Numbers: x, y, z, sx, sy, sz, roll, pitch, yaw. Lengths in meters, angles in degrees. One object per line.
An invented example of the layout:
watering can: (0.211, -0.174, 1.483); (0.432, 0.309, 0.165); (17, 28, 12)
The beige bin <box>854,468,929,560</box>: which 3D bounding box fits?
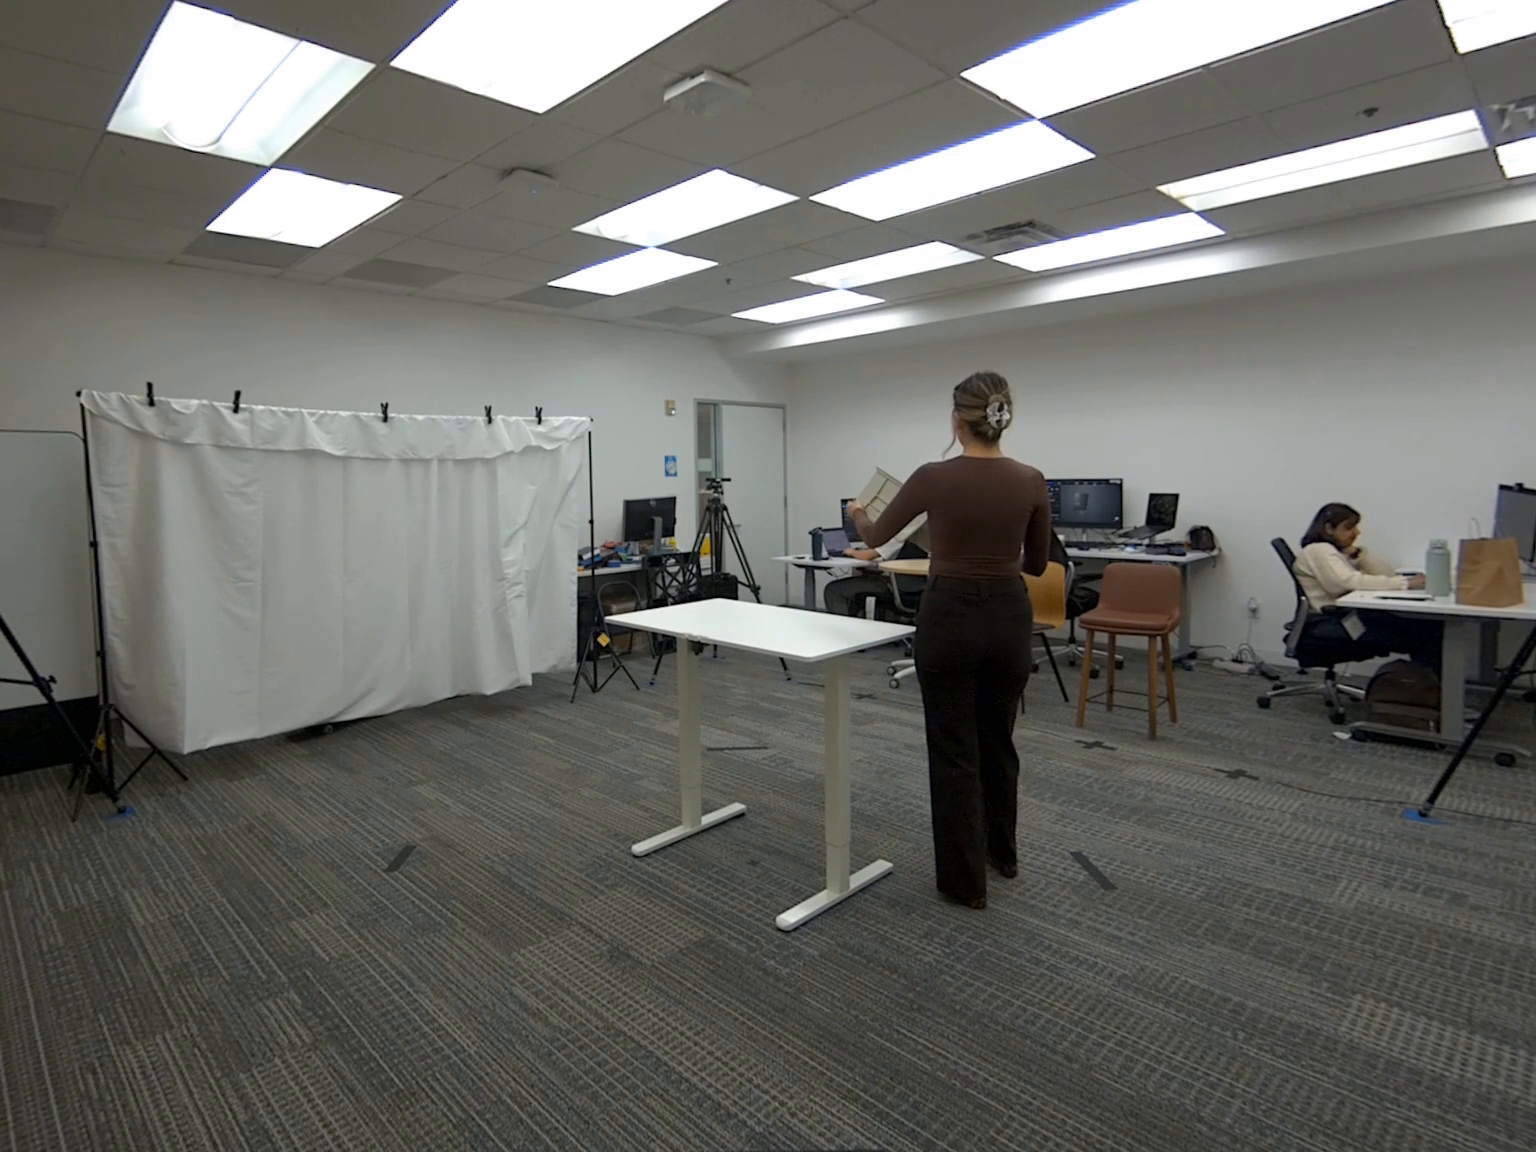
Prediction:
beige bin: (0.589, -0.187, 3.180); (0.407, 0.188, 0.392); (25, 14, -37)
